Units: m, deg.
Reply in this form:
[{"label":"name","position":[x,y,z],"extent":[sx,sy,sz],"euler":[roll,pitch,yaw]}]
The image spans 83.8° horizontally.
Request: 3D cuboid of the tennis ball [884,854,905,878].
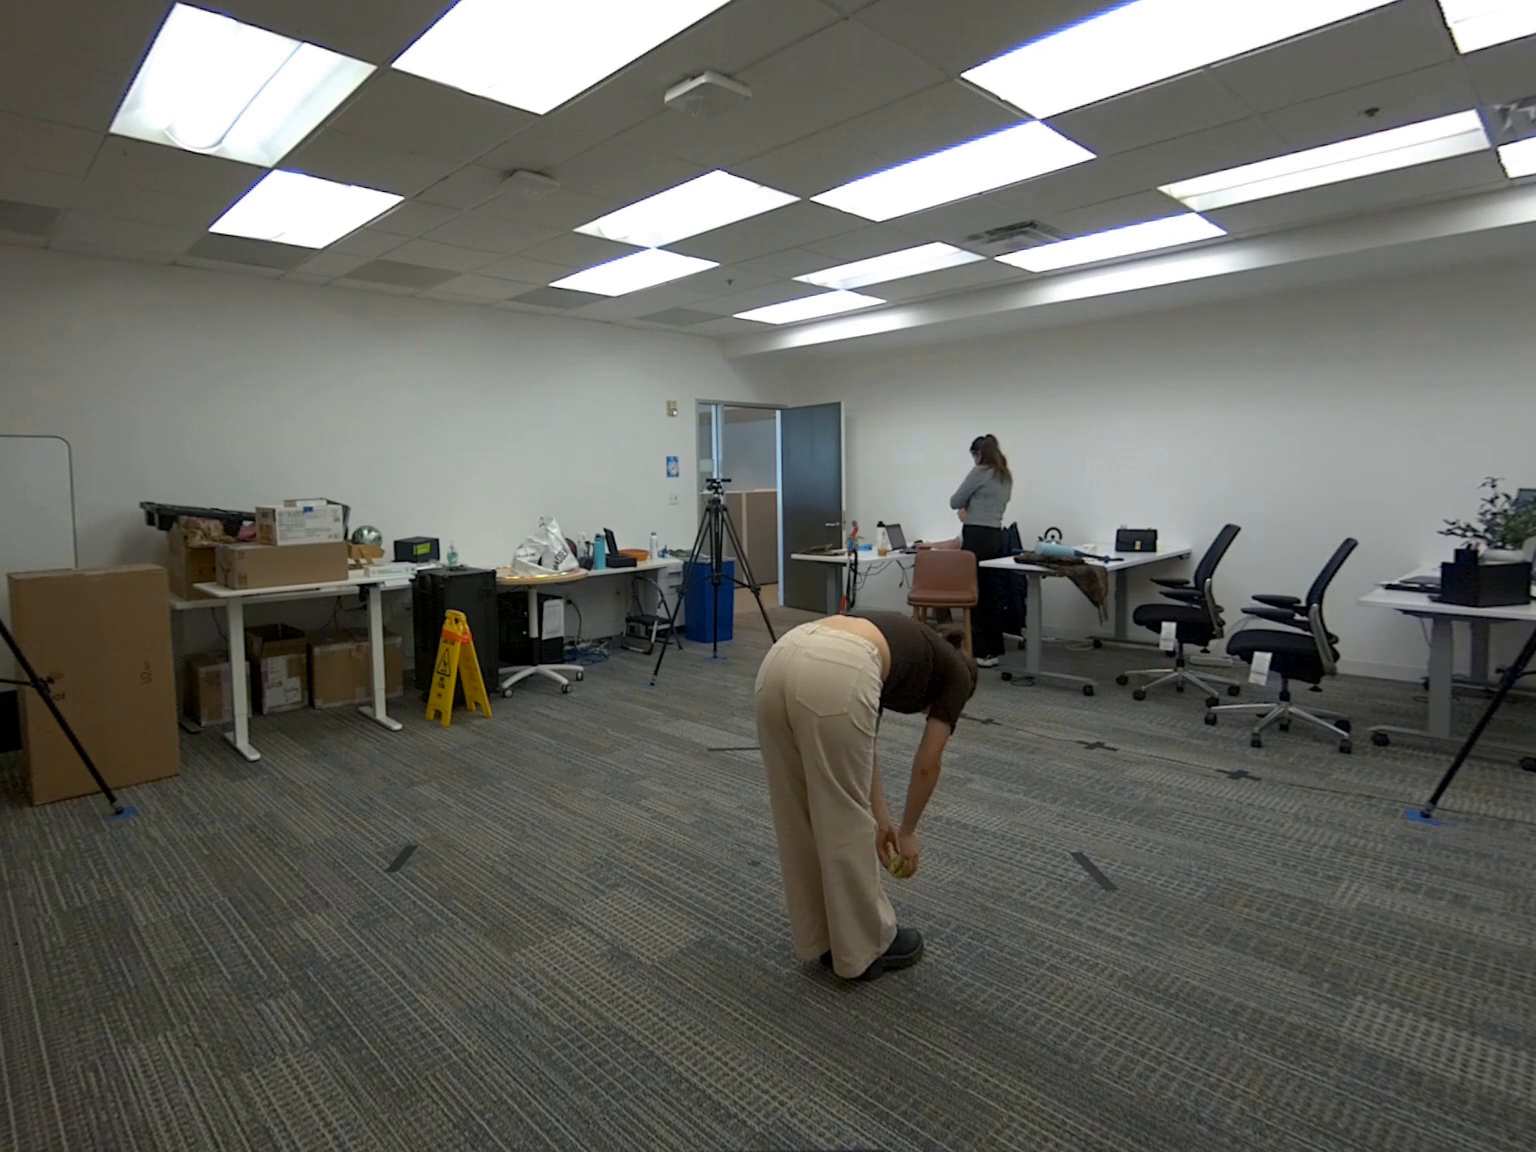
[{"label":"tennis ball","position":[0.420,0.896,2.611],"extent":[0.066,0.066,0.067],"euler":[-1,5,-2]}]
